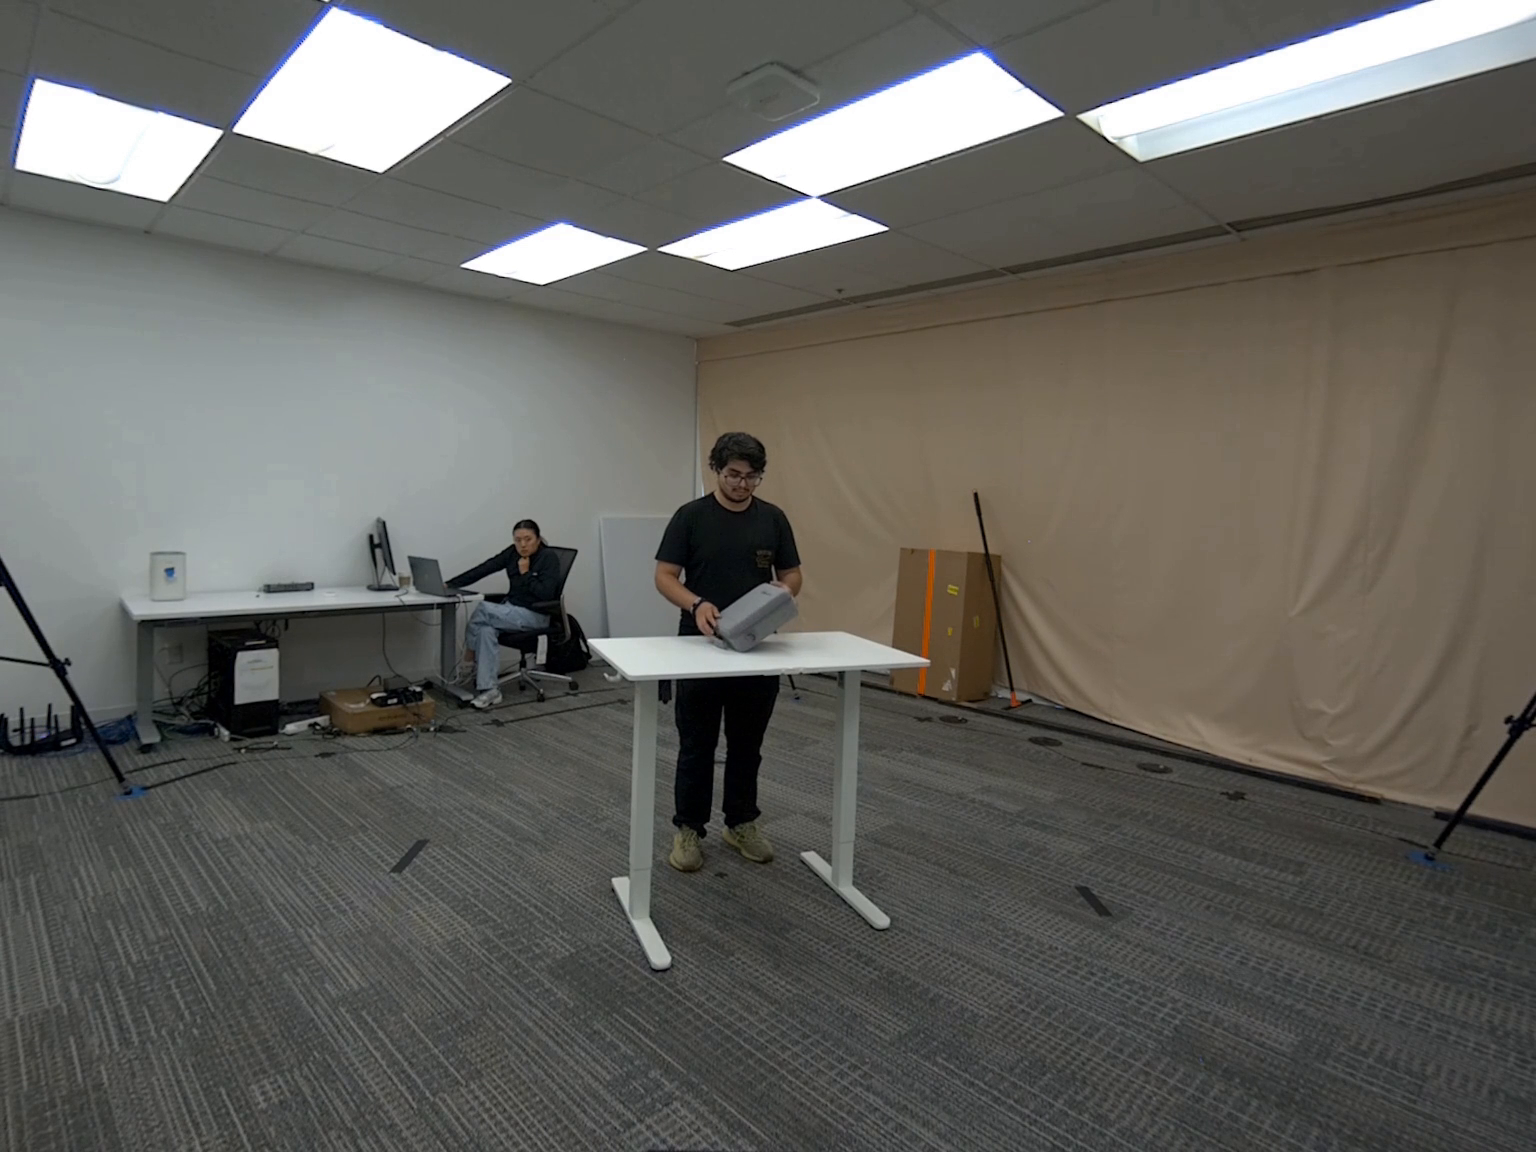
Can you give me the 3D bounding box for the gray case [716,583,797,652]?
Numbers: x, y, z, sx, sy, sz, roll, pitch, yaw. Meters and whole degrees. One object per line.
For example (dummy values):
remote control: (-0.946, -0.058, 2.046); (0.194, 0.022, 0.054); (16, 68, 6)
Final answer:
gray case: (-0.057, 0.137, 2.876); (0.260, 0.103, 0.261); (-35, 13, -10)
